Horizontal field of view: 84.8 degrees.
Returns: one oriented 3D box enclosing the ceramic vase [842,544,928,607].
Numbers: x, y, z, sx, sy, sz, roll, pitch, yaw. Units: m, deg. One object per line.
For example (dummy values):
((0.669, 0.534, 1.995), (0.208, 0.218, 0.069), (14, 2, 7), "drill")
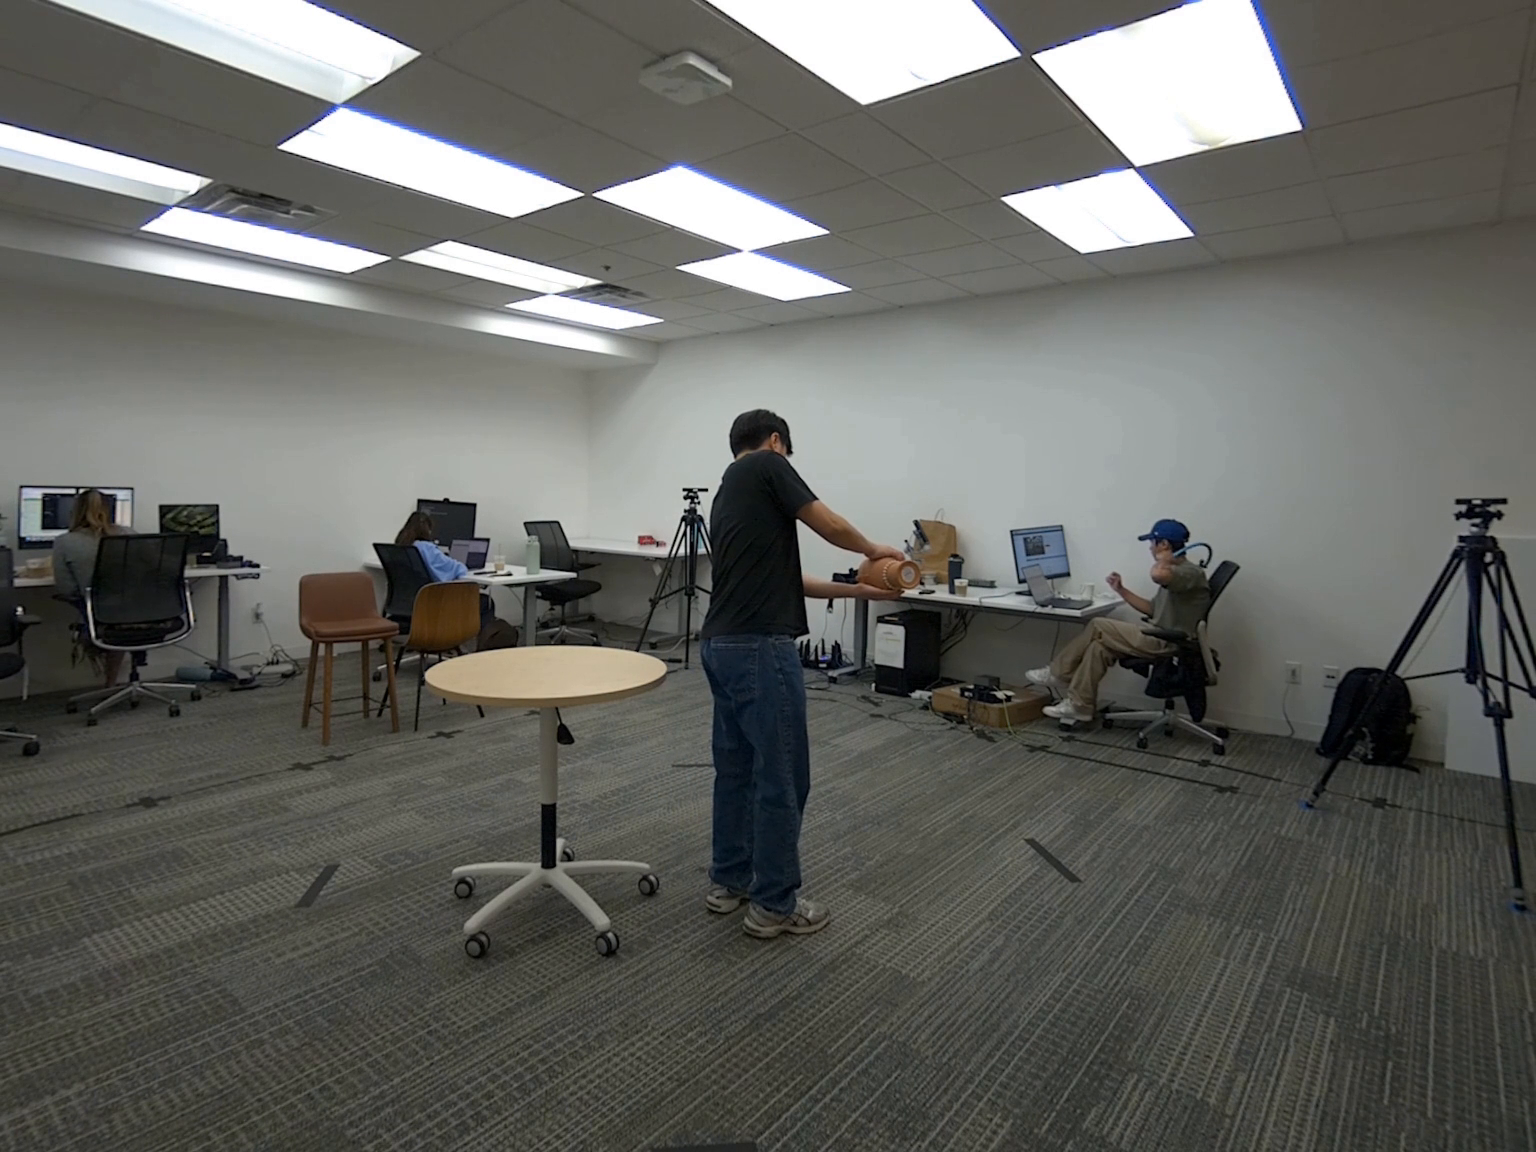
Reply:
((0.400, -0.004, 2.916), (0.159, 0.132, 0.224), (-46, 16, -15), "ceramic vase")
